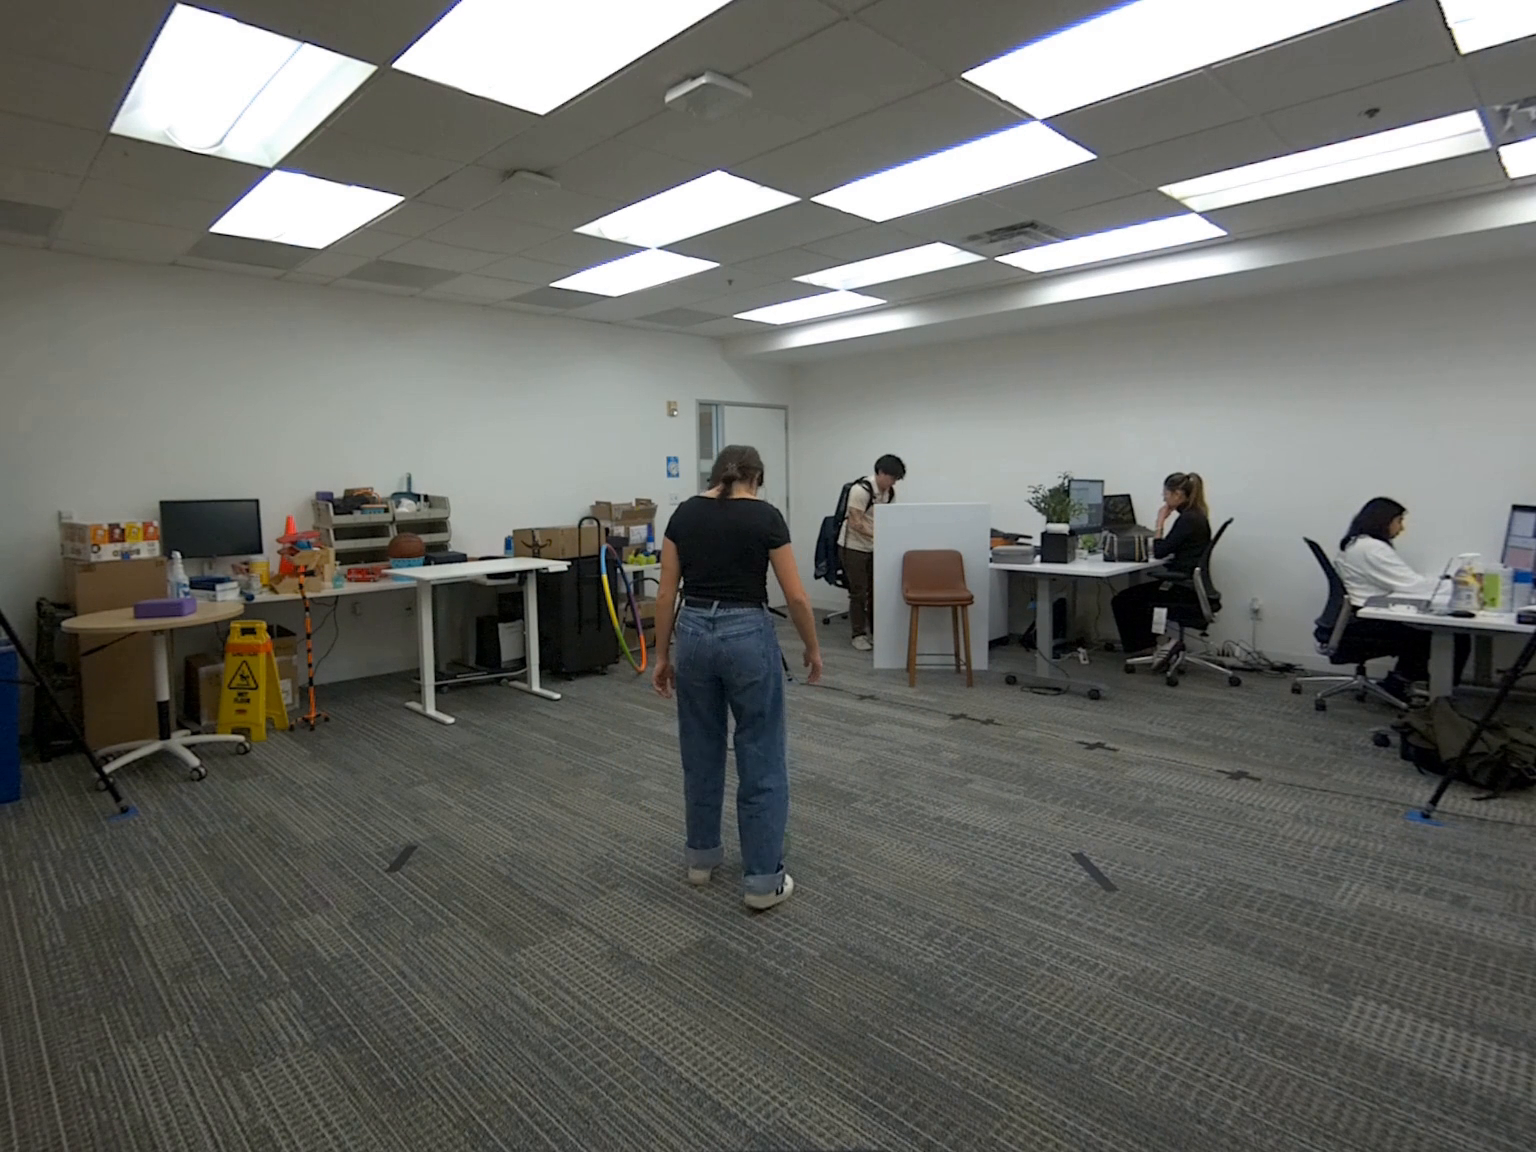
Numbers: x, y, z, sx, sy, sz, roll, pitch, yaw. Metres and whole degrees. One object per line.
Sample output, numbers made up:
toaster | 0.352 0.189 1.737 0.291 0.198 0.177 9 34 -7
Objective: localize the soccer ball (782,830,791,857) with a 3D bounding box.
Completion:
soccer ball | -0.012 0.951 3.092 0.187 0.187 0.188 -1 5 -2
